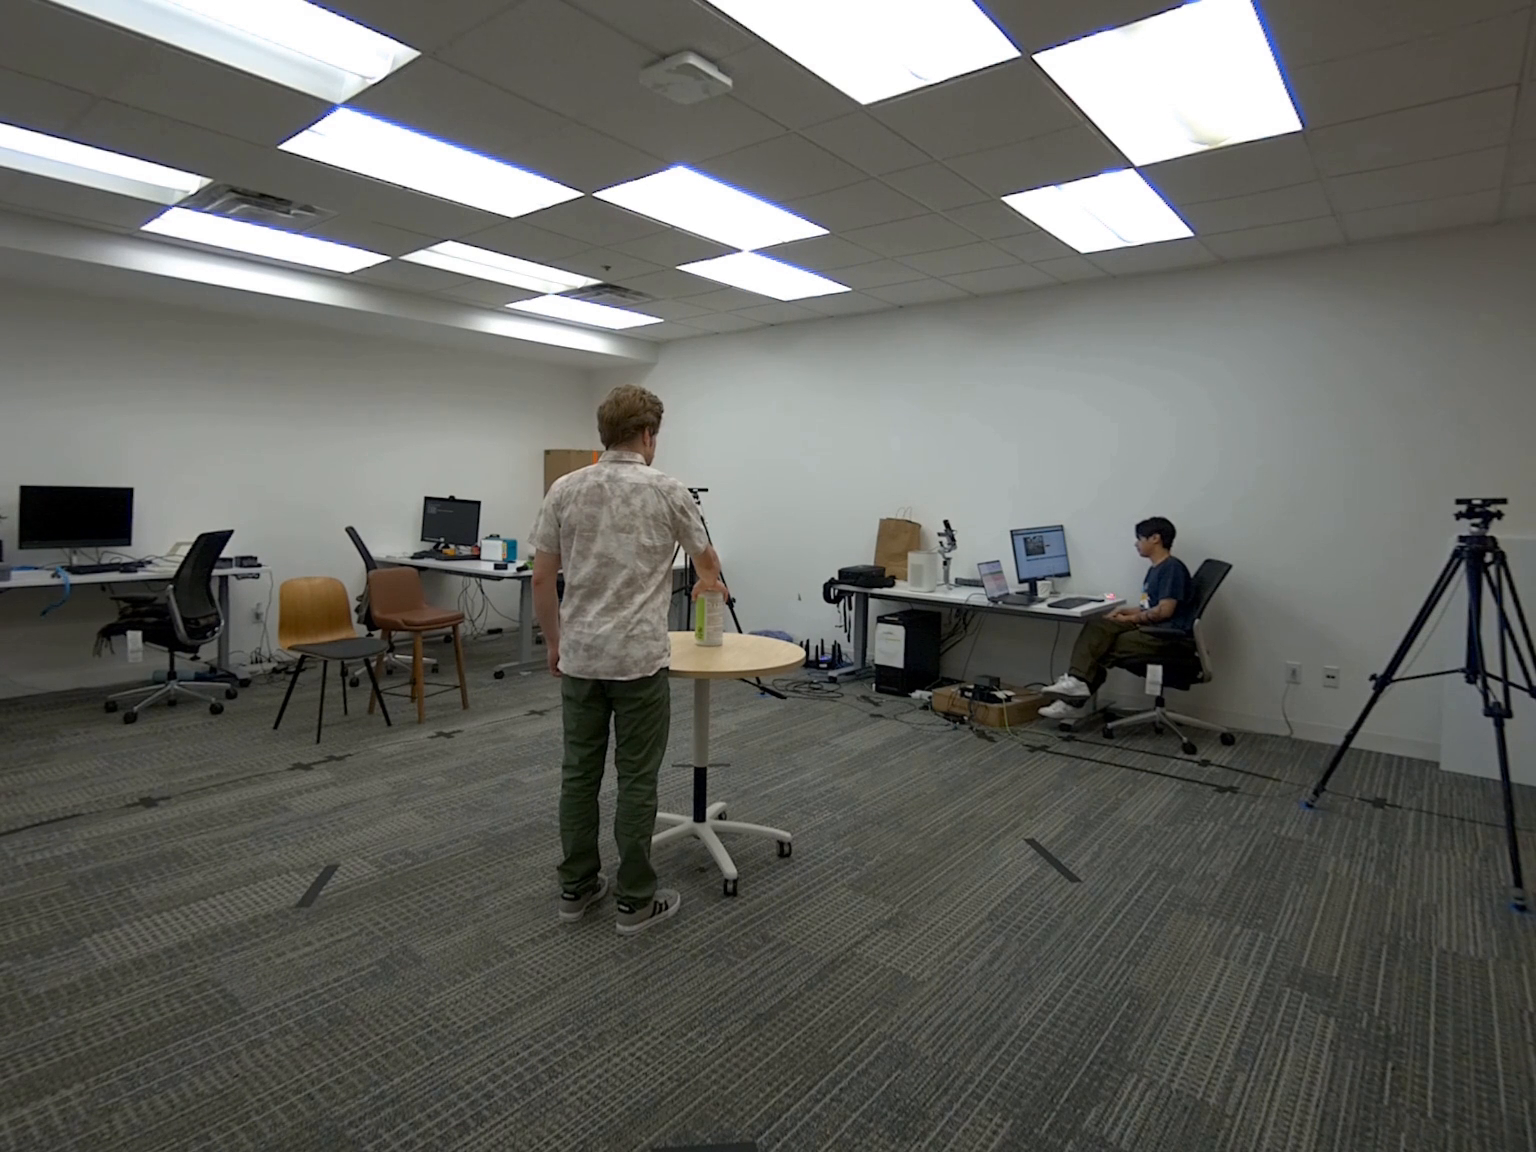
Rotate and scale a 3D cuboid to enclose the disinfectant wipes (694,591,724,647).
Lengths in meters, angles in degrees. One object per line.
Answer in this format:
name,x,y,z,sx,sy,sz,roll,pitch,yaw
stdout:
disinfectant wipes,-0.228,0.155,3.268,0.118,0.216,0.118,1,5,-2
